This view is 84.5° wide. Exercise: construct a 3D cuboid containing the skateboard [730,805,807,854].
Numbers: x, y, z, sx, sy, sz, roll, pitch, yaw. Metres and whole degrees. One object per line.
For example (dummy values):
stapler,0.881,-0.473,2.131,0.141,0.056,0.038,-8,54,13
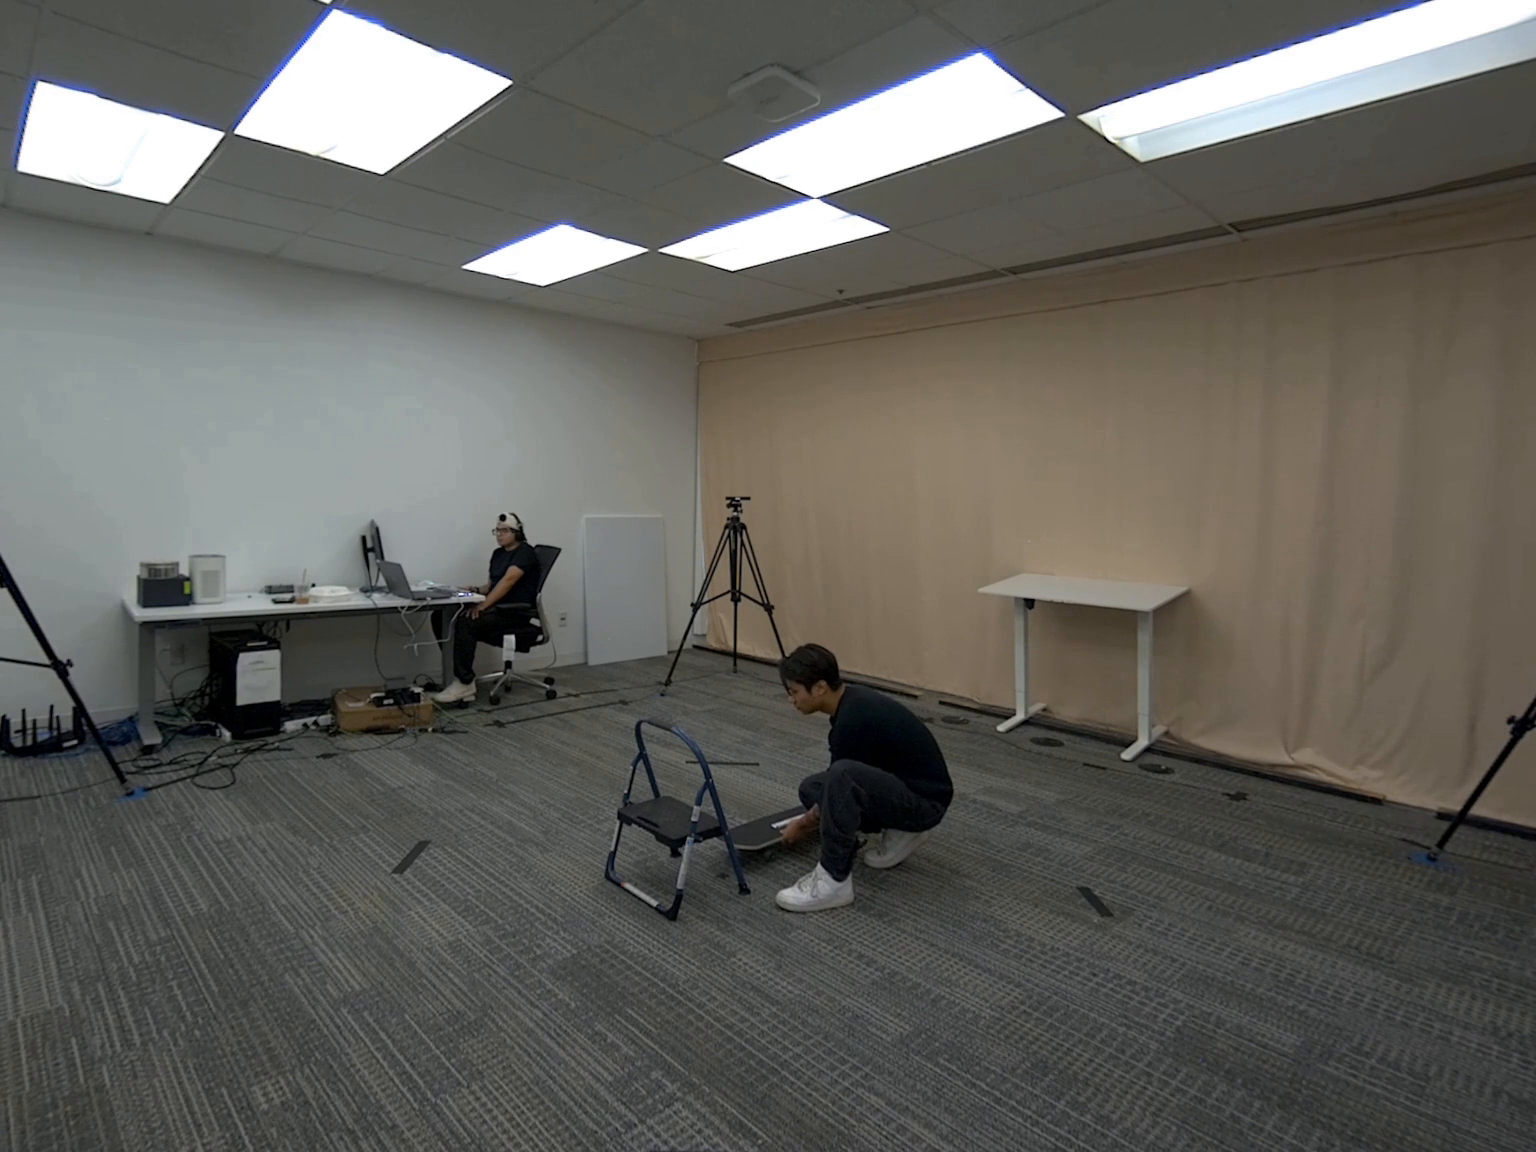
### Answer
skateboard,0.094,1.025,3.420,0.767,0.110,0.198,-3,6,-44
